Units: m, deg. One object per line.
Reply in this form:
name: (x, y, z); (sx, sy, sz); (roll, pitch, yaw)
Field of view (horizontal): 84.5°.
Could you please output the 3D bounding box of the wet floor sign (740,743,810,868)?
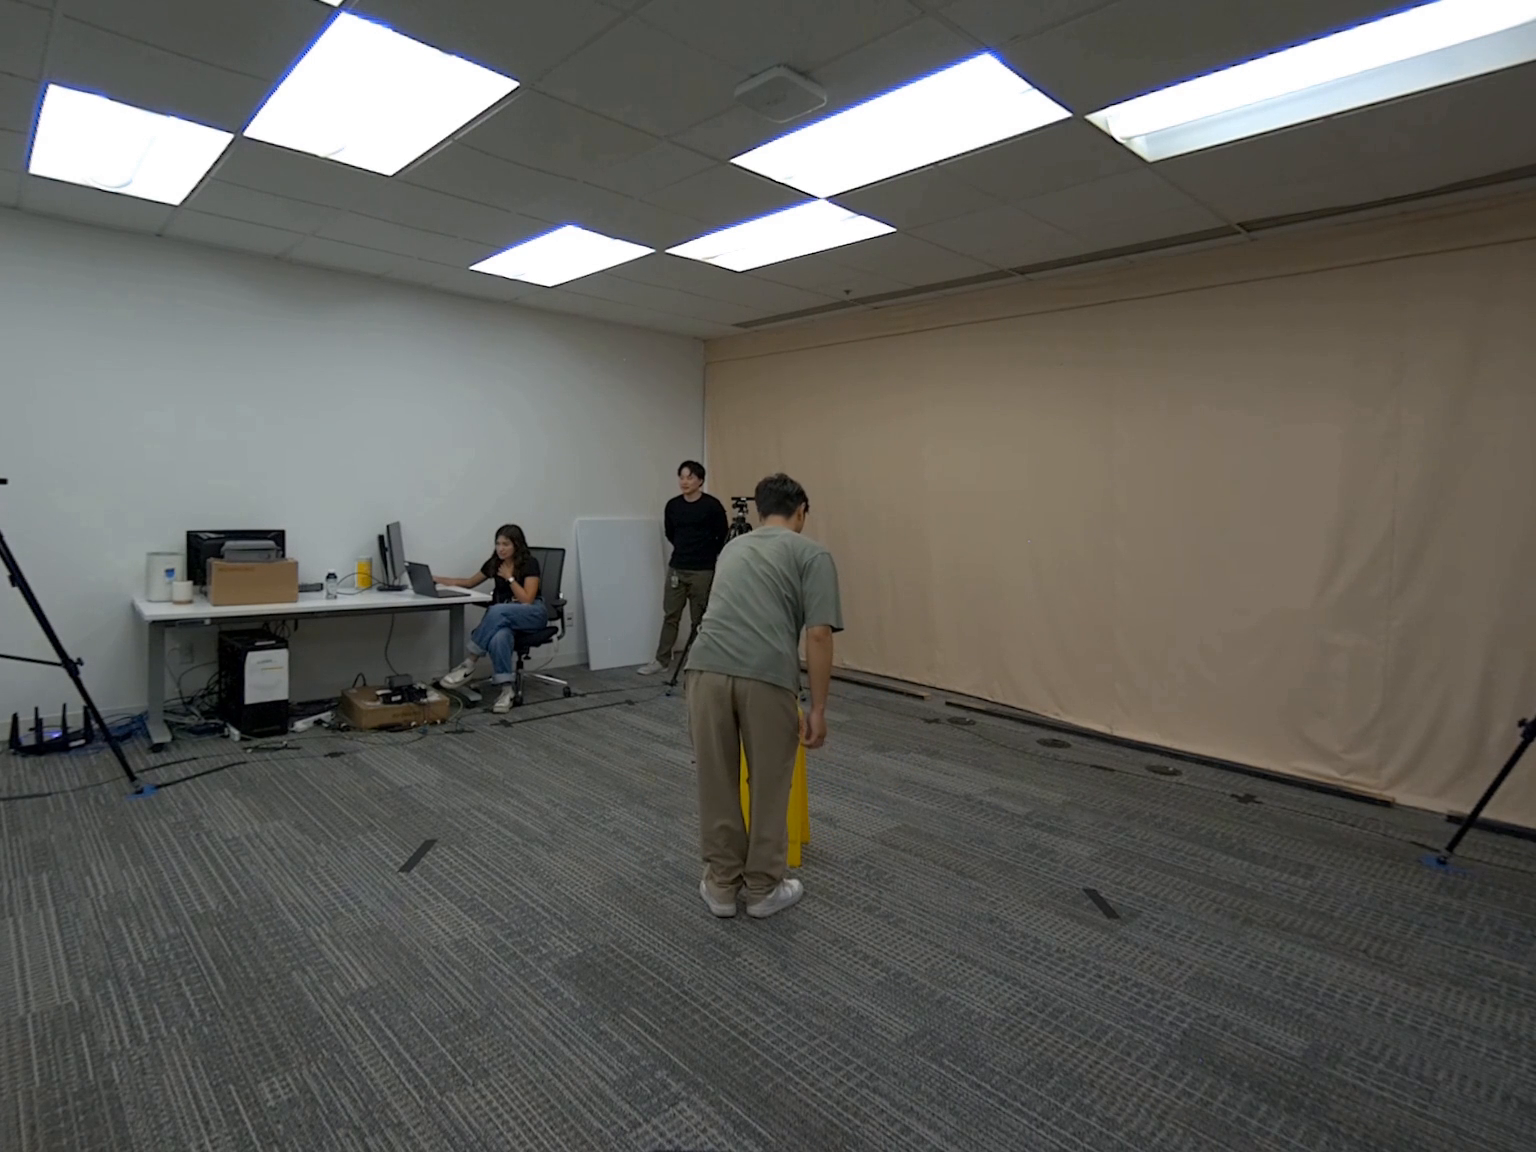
wet floor sign: (0.007, 0.774, 3.337); (0.285, 0.645, 0.287); (3, 2, 13)
